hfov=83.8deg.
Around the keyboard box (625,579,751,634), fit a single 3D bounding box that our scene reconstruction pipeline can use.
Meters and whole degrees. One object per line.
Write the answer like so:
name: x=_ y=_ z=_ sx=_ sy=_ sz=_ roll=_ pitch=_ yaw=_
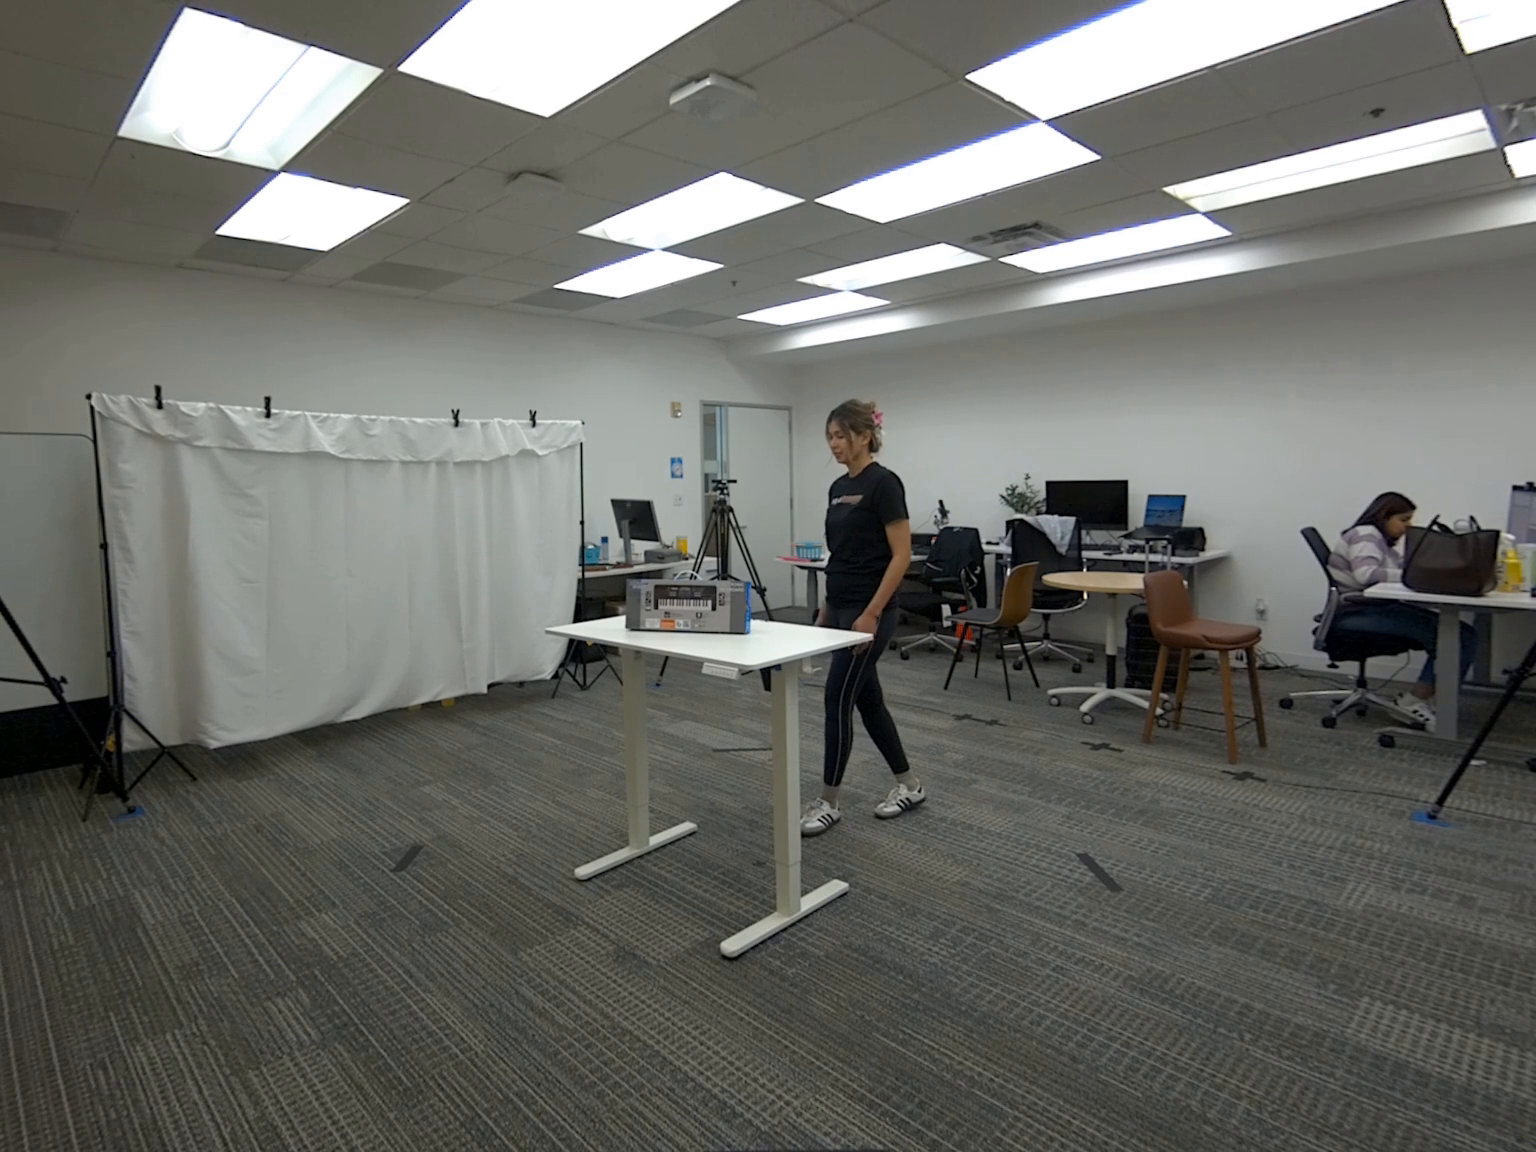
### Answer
keyboard box: x=-0.275 y=0.103 z=2.921 sx=0.444 sy=0.176 sz=0.058 roll=0 pitch=-3 yaw=18
